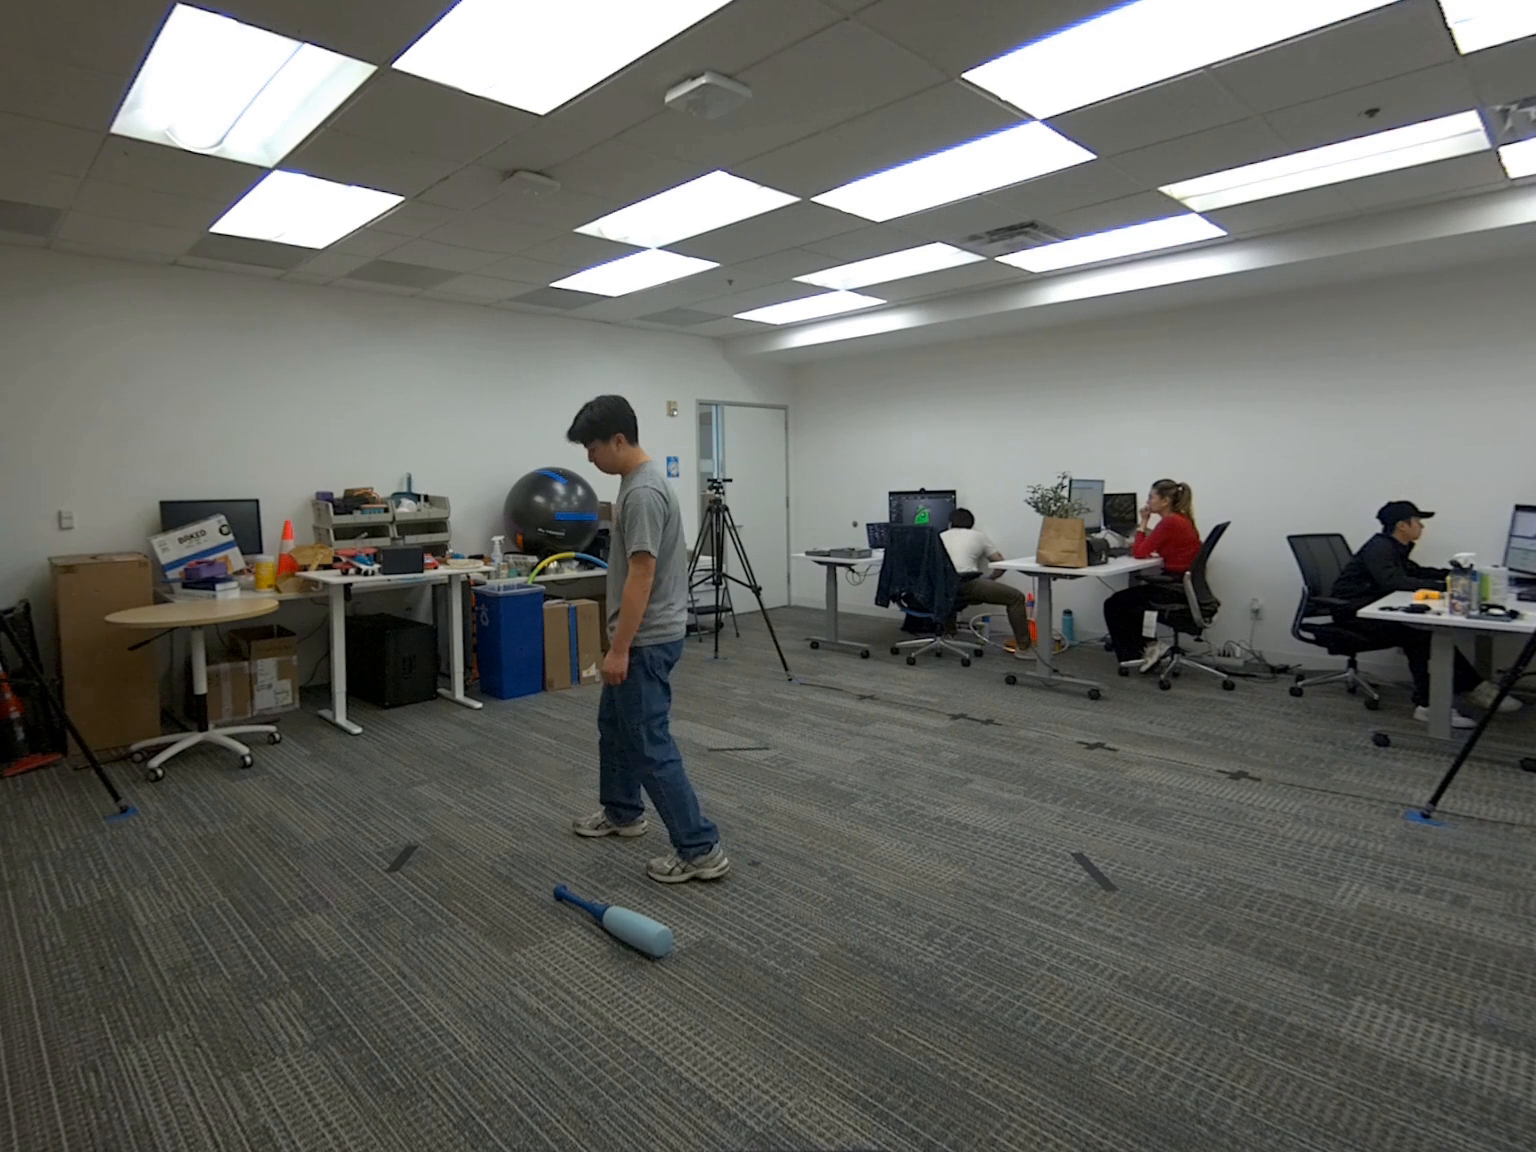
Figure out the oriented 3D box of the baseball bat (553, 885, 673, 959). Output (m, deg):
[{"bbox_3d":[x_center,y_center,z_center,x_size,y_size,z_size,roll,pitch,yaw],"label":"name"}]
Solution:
[{"bbox_3d":[-0.503,1.074,2.677,0.559,0.089,0.087,0,4,45],"label":"baseball bat"}]
